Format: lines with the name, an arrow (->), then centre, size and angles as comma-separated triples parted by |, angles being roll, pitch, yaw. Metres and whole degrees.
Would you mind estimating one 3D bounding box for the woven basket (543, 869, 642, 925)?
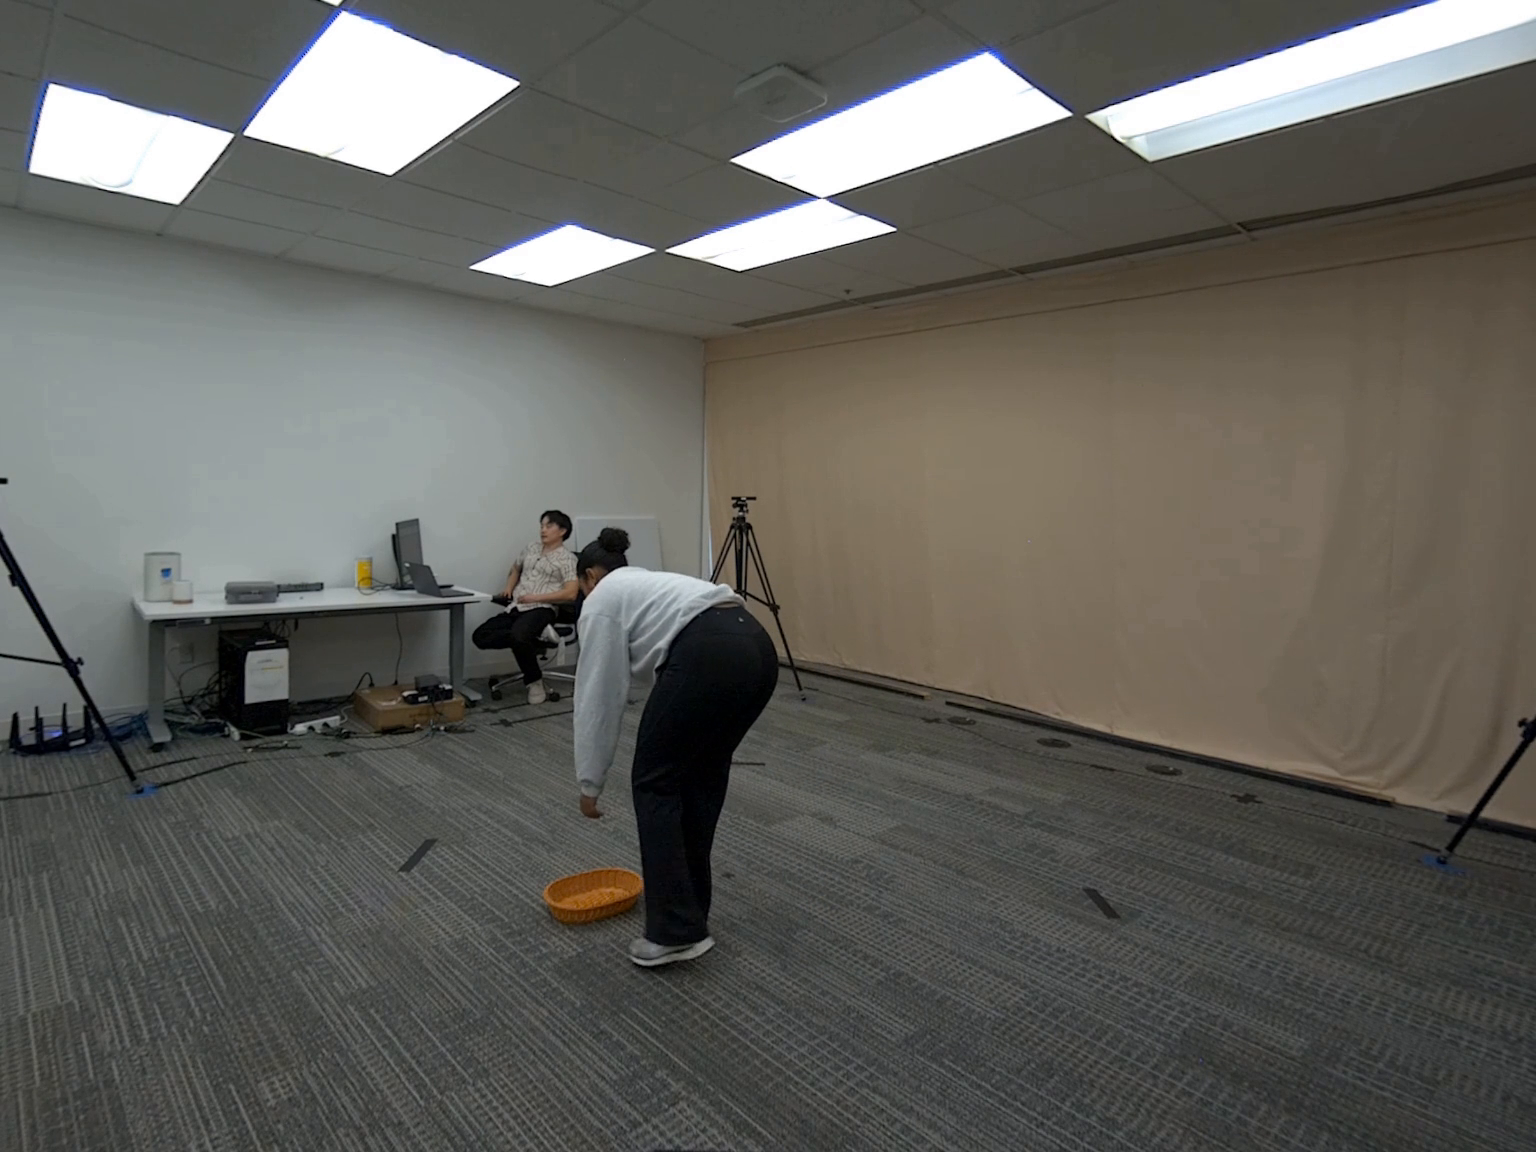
woven basket -> -0.594, 1.083, 2.844 | 0.343, 0.073, 0.258 | -1, 6, -32
